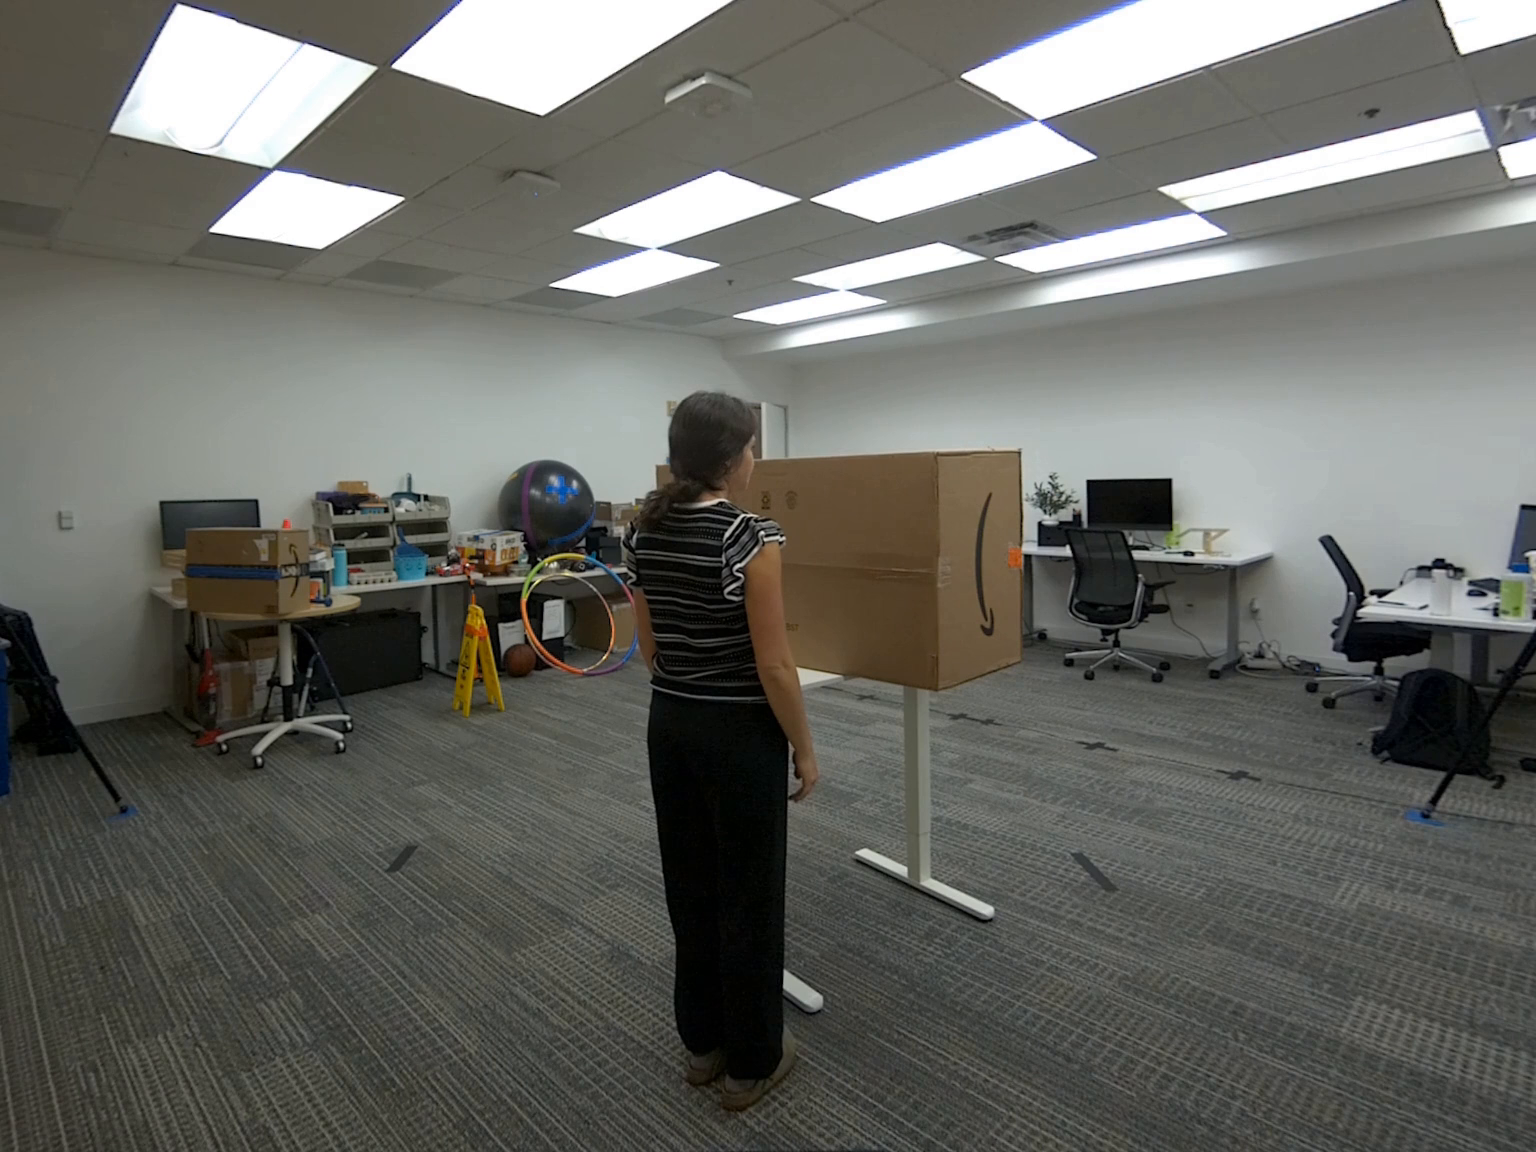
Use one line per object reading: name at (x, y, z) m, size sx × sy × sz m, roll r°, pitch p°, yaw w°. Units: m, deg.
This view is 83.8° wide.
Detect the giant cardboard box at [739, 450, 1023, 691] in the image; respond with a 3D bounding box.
giant cardboard box at (0.171, -0.062, 2.517) m, size 1.057 × 0.575 × 0.415 m, roll 4°, pitch 7°, yaw 45°
